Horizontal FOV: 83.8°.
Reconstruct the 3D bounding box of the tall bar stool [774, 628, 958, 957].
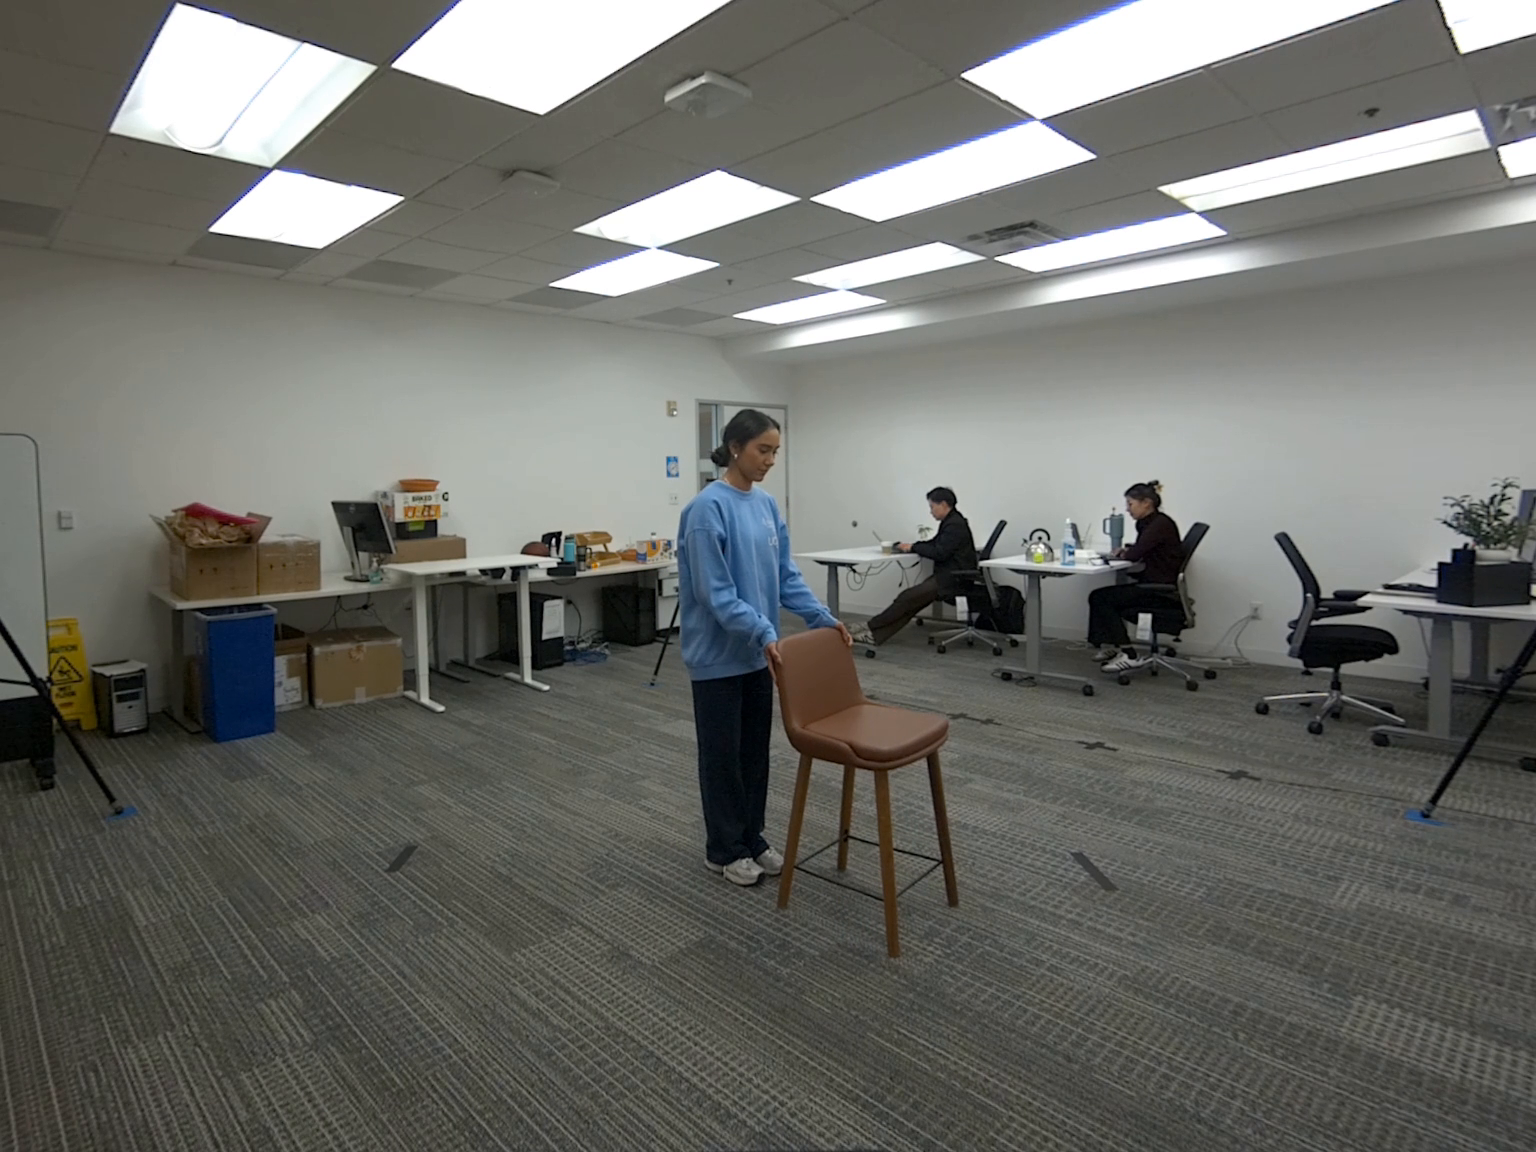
[{"bbox_3d":[0.312,0.642,2.750,0.481,0.888,0.444,-1,3,40],"label":"tall bar stool"}]
